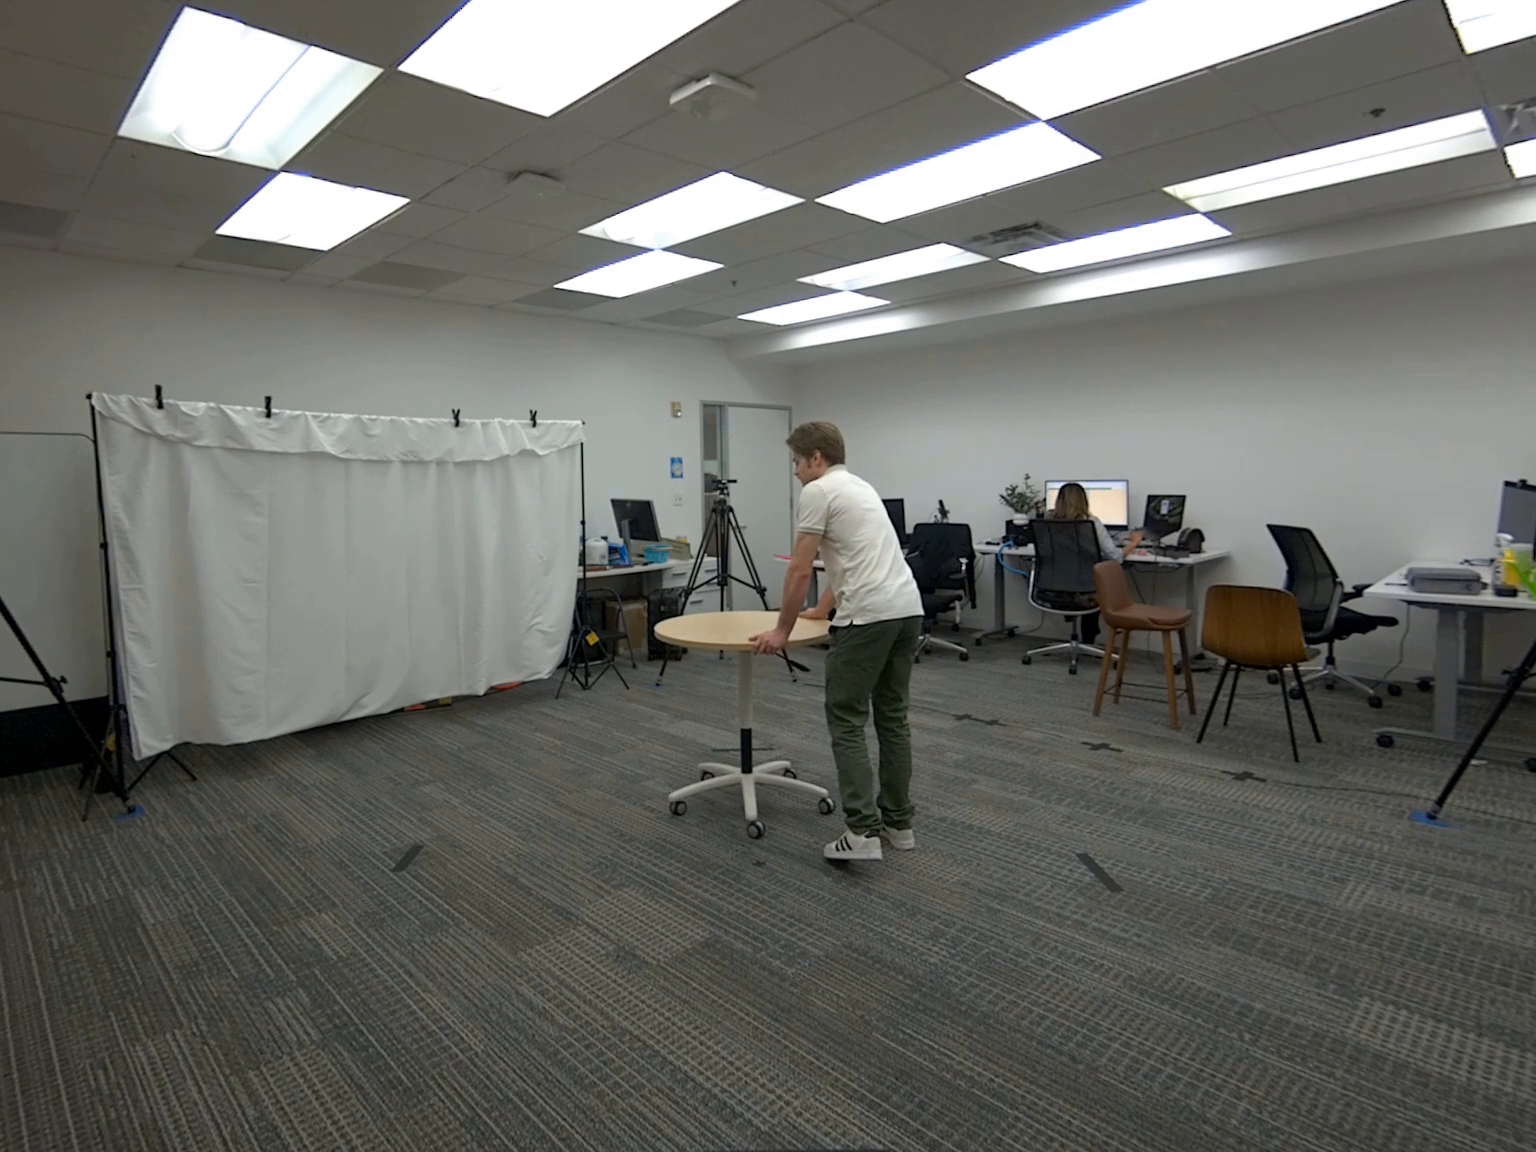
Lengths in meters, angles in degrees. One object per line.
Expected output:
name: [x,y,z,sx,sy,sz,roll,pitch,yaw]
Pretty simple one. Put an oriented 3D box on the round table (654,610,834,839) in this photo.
round table: [-0.095,0.602,3.666,0.763,0.791,0.768,-1,5,-2]
